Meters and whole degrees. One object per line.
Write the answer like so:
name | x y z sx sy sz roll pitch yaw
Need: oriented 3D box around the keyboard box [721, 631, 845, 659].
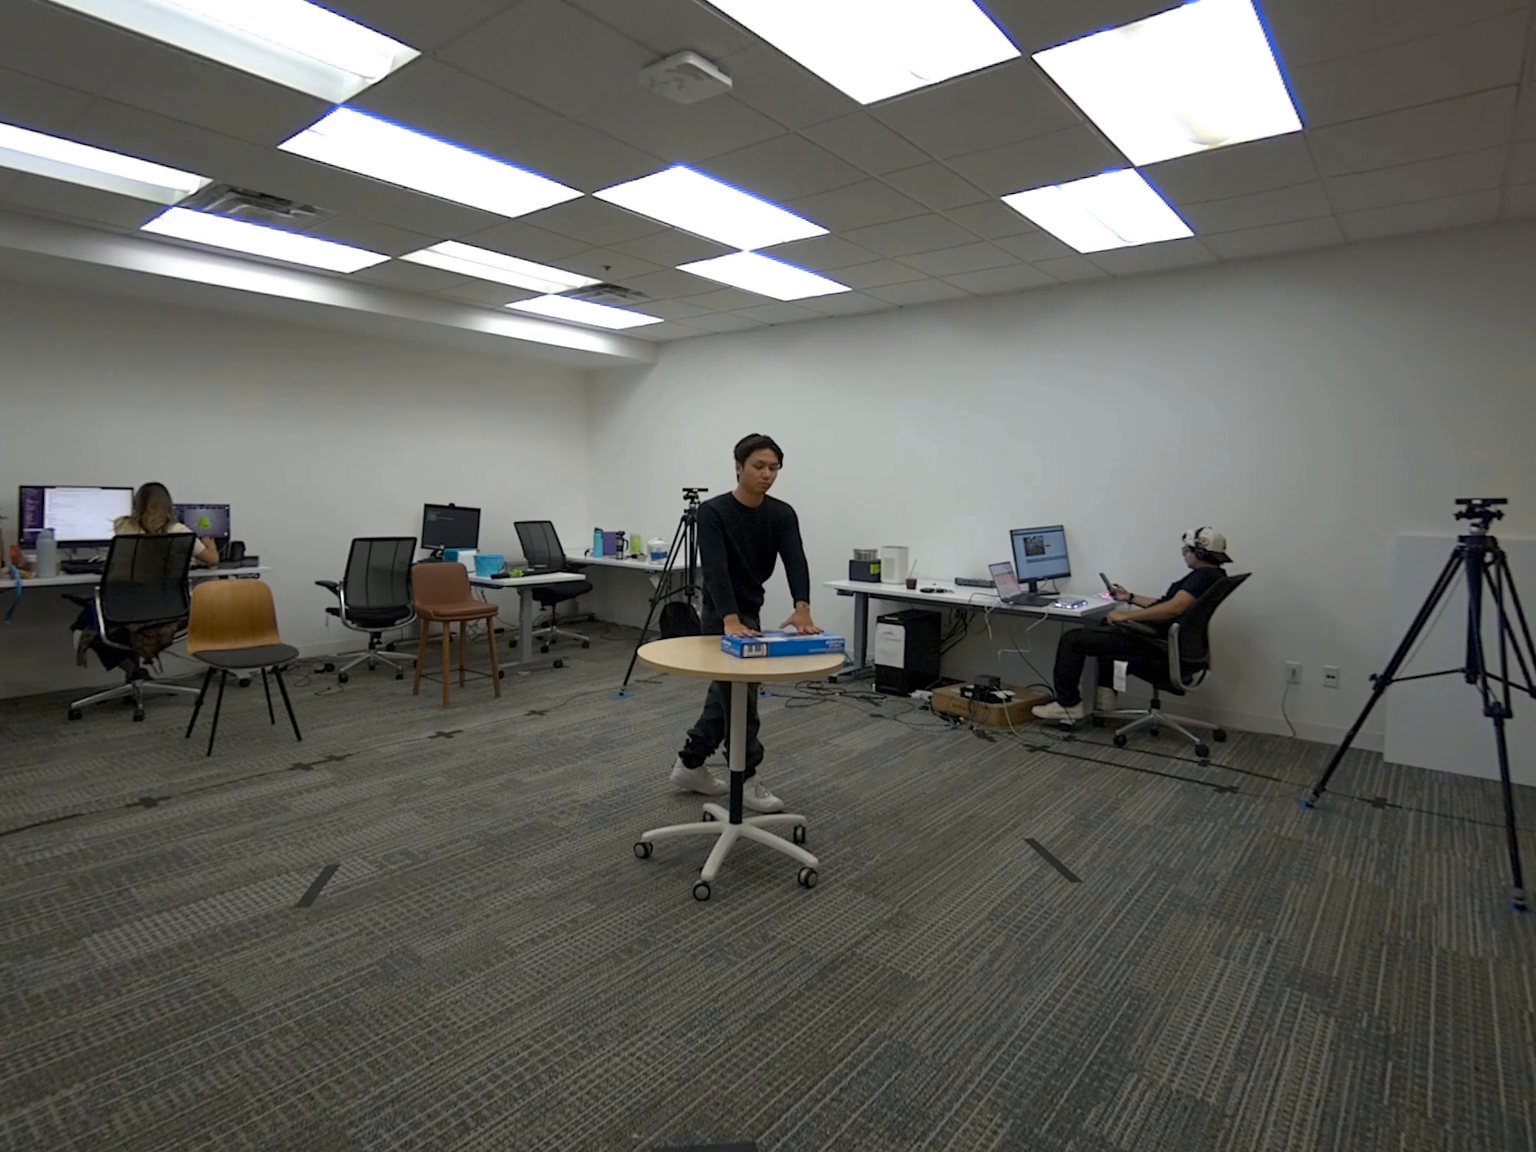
keyboard box | 0.048 0.251 3.228 0.426 0.059 0.181 -2 6 -25
